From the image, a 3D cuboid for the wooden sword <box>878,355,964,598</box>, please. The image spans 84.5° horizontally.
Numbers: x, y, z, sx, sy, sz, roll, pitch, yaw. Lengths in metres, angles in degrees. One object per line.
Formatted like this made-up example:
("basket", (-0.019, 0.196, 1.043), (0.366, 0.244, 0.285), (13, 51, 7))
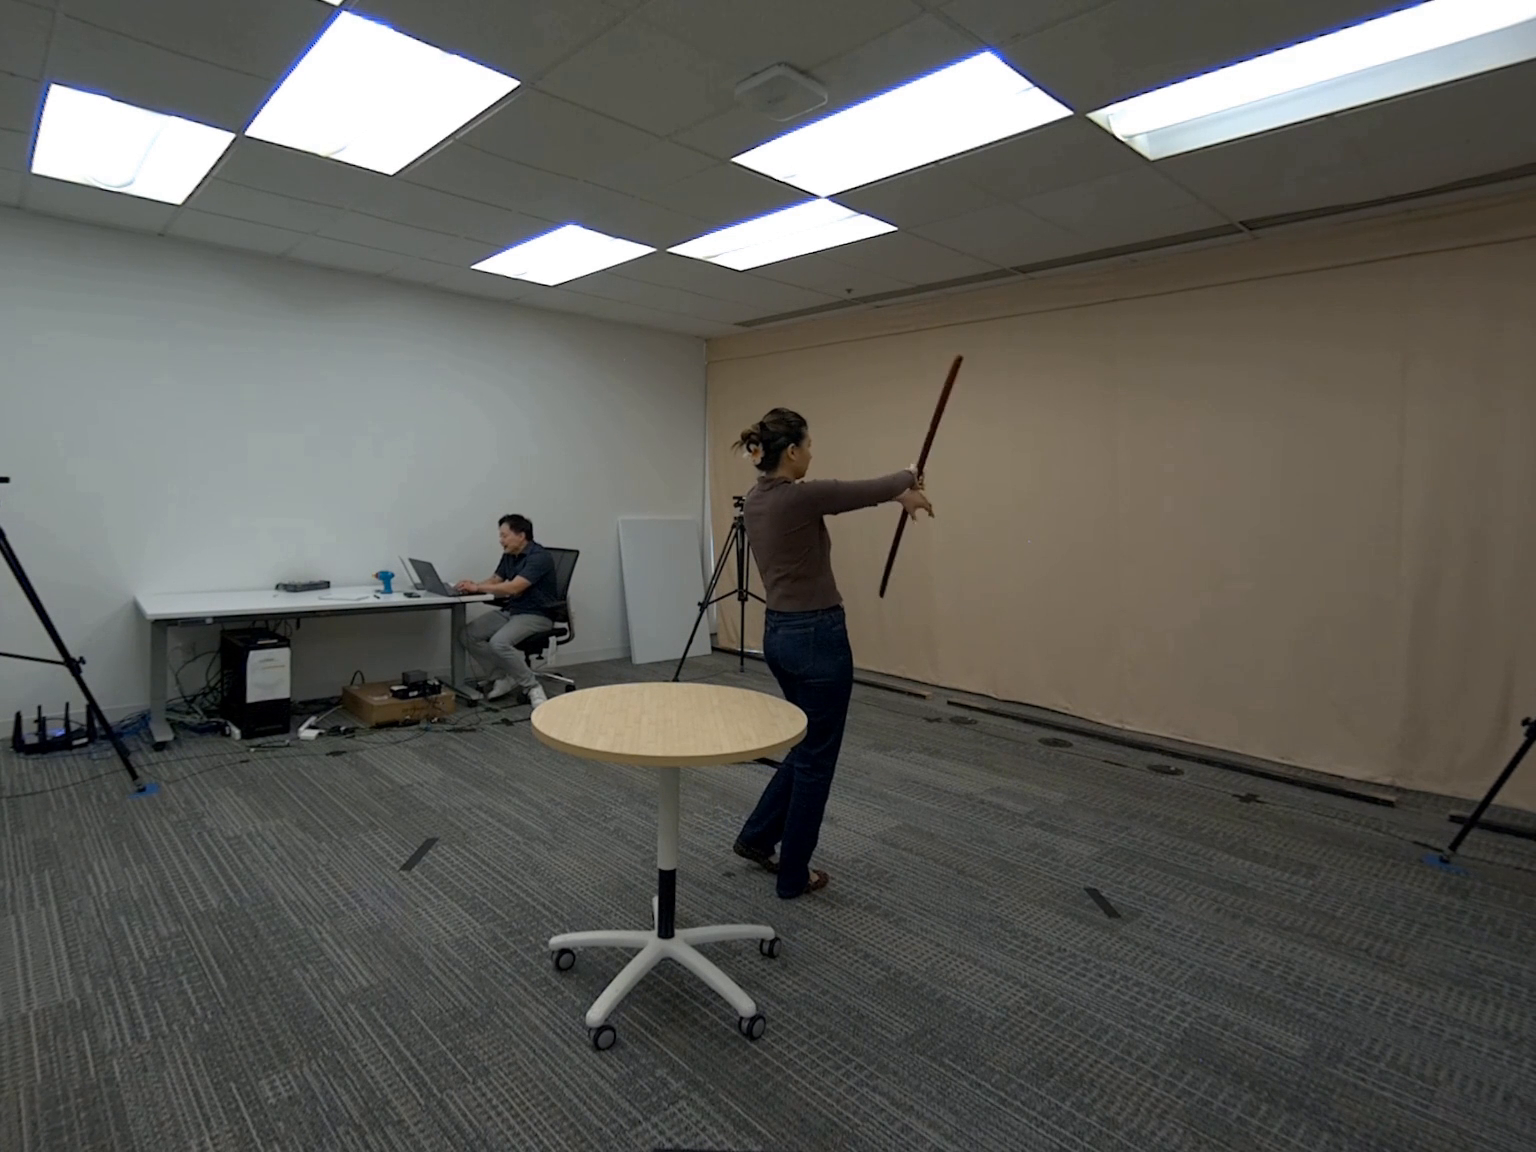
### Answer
("wooden sword", (0.558, -0.341, 3.162), (0.050, 1.011, 0.025), (-6, 36, -31))
